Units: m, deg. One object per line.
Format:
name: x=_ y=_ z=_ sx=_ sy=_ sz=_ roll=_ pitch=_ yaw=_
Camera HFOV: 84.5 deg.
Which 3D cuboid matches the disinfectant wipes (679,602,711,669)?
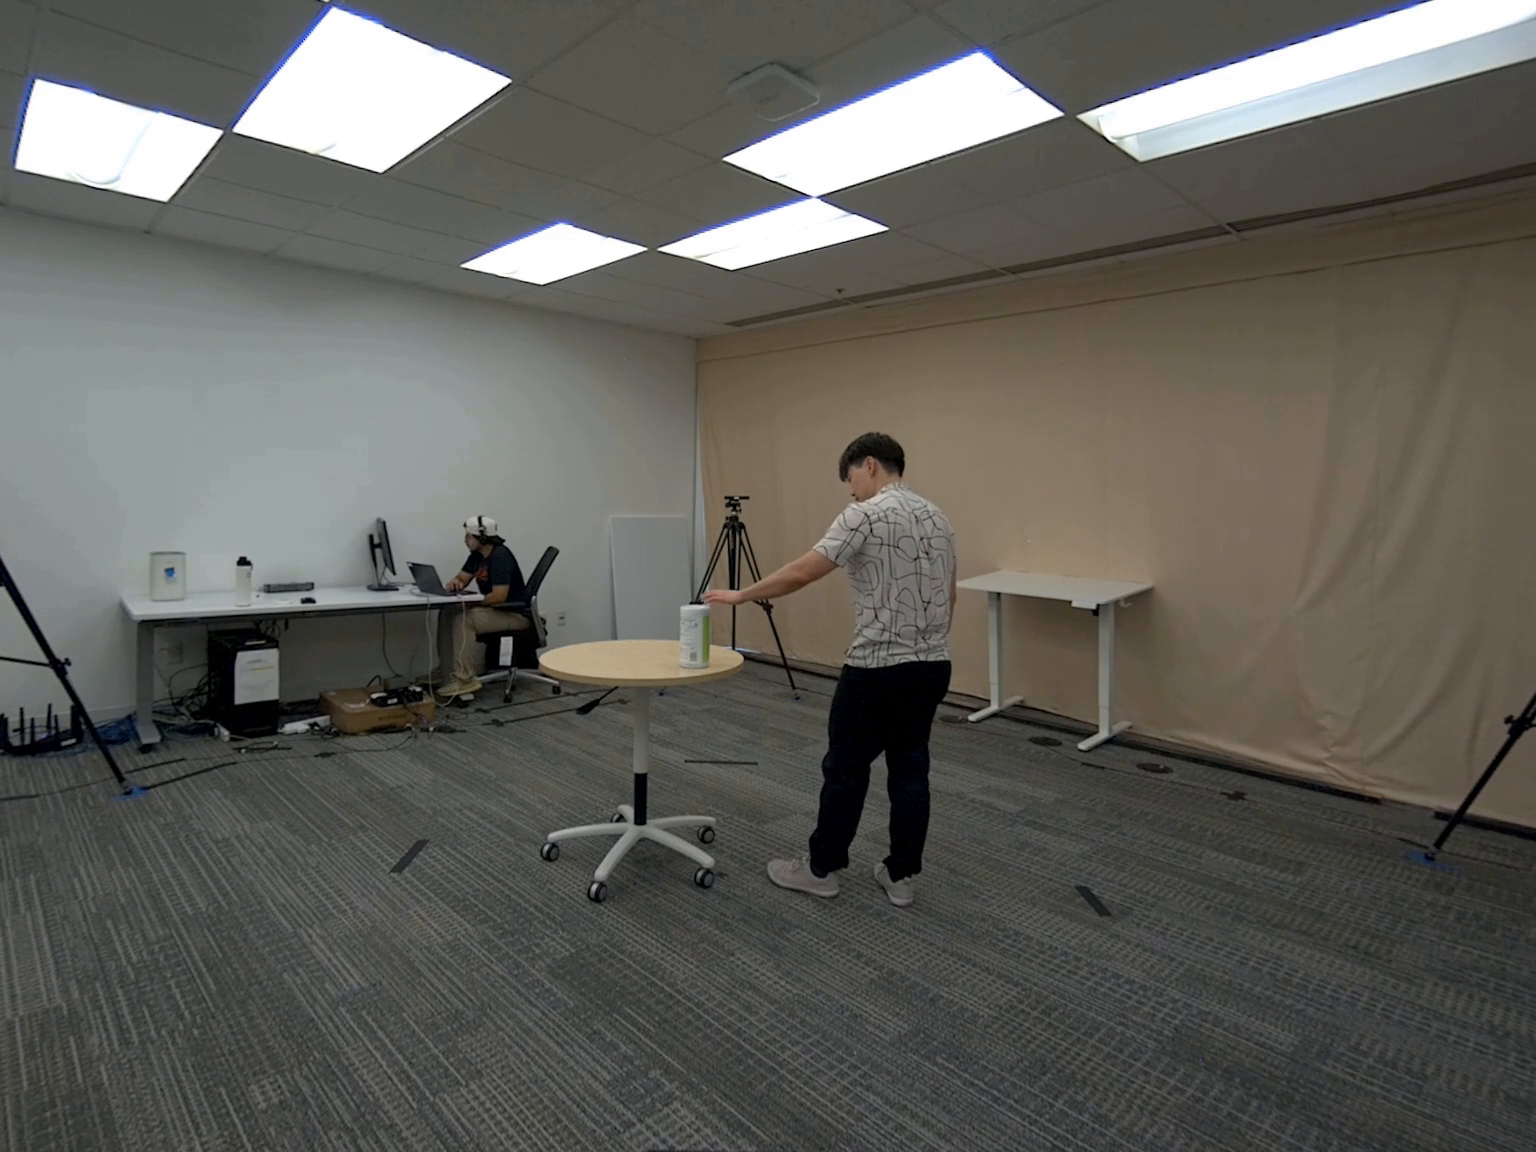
disinfectant wipes: x=-0.264 y=0.217 z=3.034 sx=0.118 sy=0.217 sz=0.118 roll=1 pitch=3 yaw=-1
